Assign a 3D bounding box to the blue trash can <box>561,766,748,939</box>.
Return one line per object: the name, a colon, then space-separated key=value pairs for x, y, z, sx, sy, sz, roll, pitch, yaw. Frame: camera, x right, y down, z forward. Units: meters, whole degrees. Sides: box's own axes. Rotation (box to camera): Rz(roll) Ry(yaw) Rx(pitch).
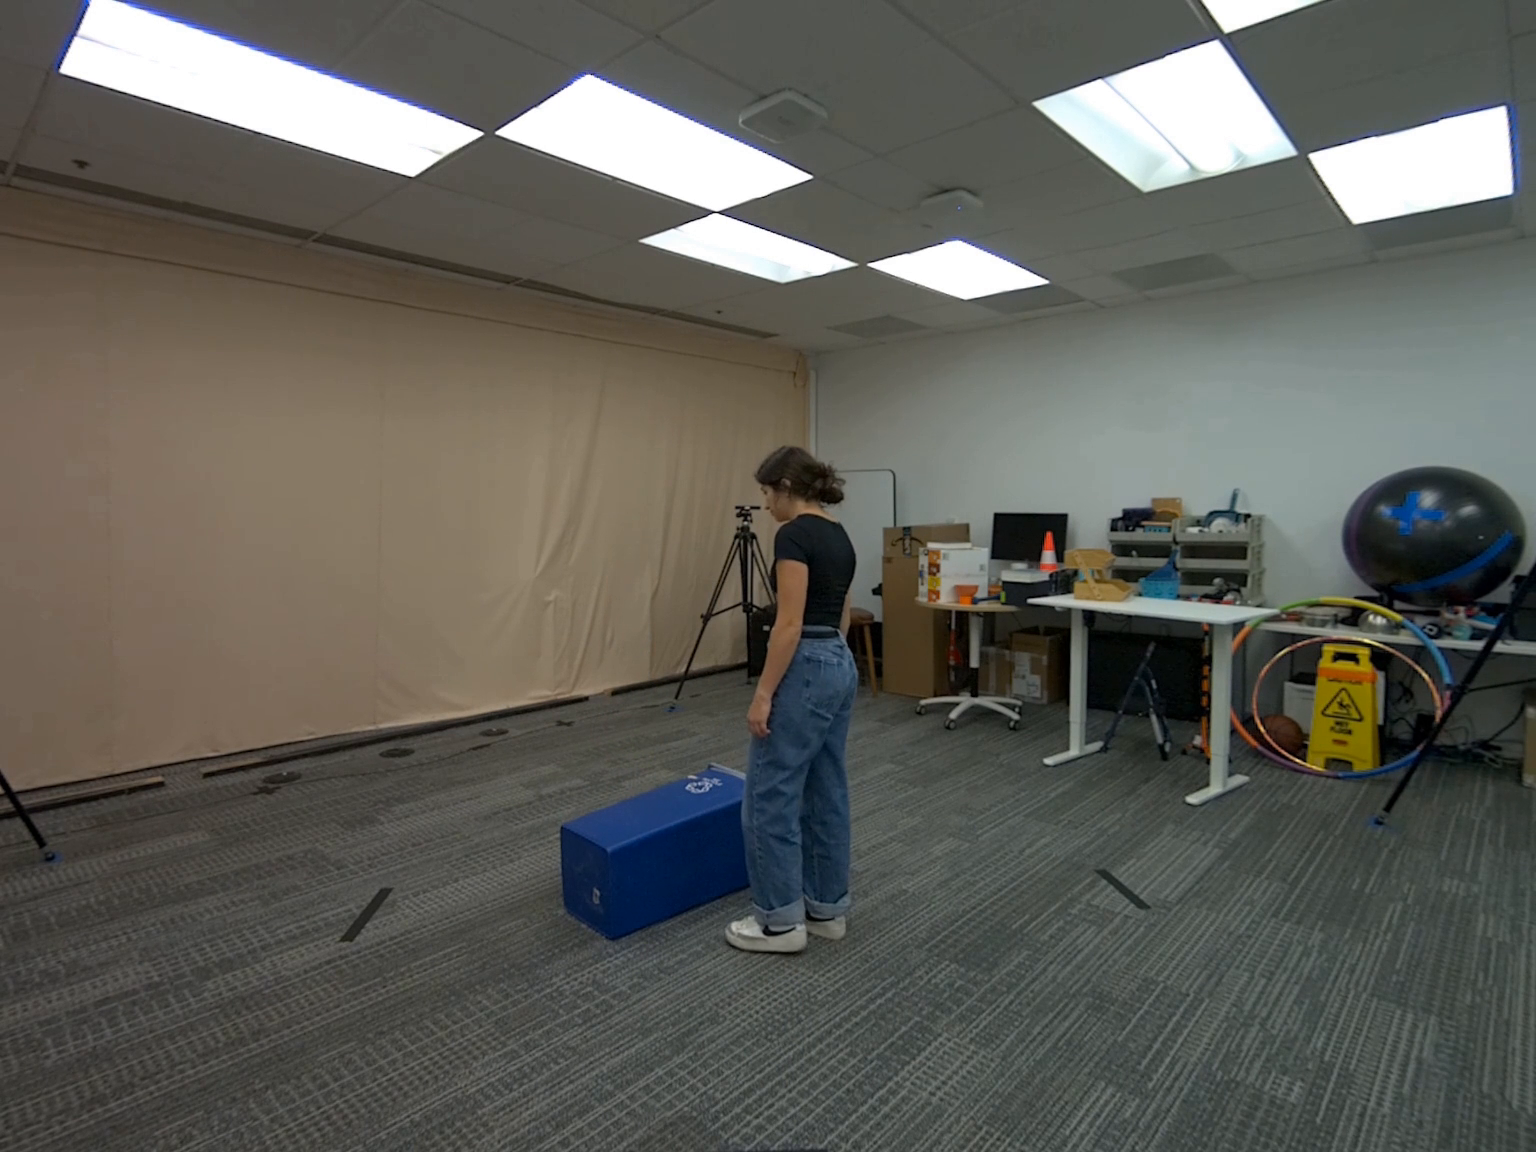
blue trash can: x=-0.357 y=0.979 z=3.021 sx=0.693 sy=0.372 sz=0.391 roll=-9 pitch=9 yaw=-41
